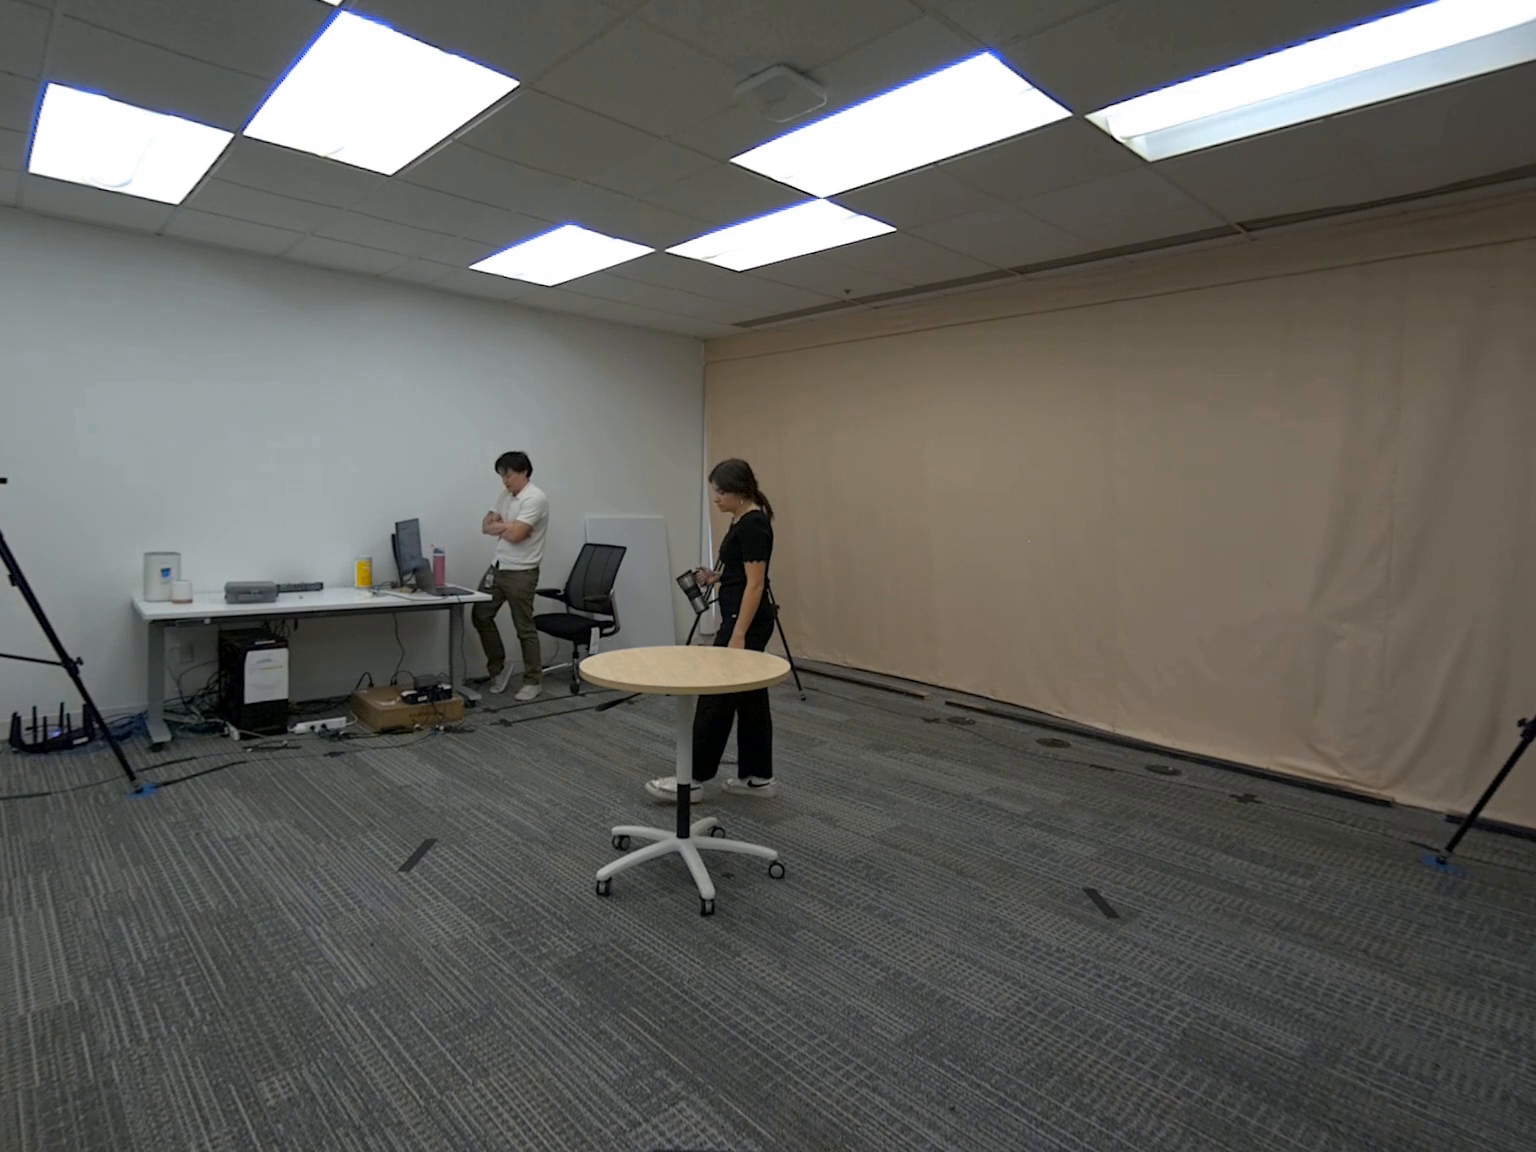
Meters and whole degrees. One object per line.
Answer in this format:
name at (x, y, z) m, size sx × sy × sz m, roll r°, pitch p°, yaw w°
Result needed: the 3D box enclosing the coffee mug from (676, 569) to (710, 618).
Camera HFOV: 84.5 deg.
coffee mug at (-0.342, 0.081, 3.960) m, size 0.121 × 0.202 × 0.088 m, roll -31°, pitch 2°, yaw -24°
